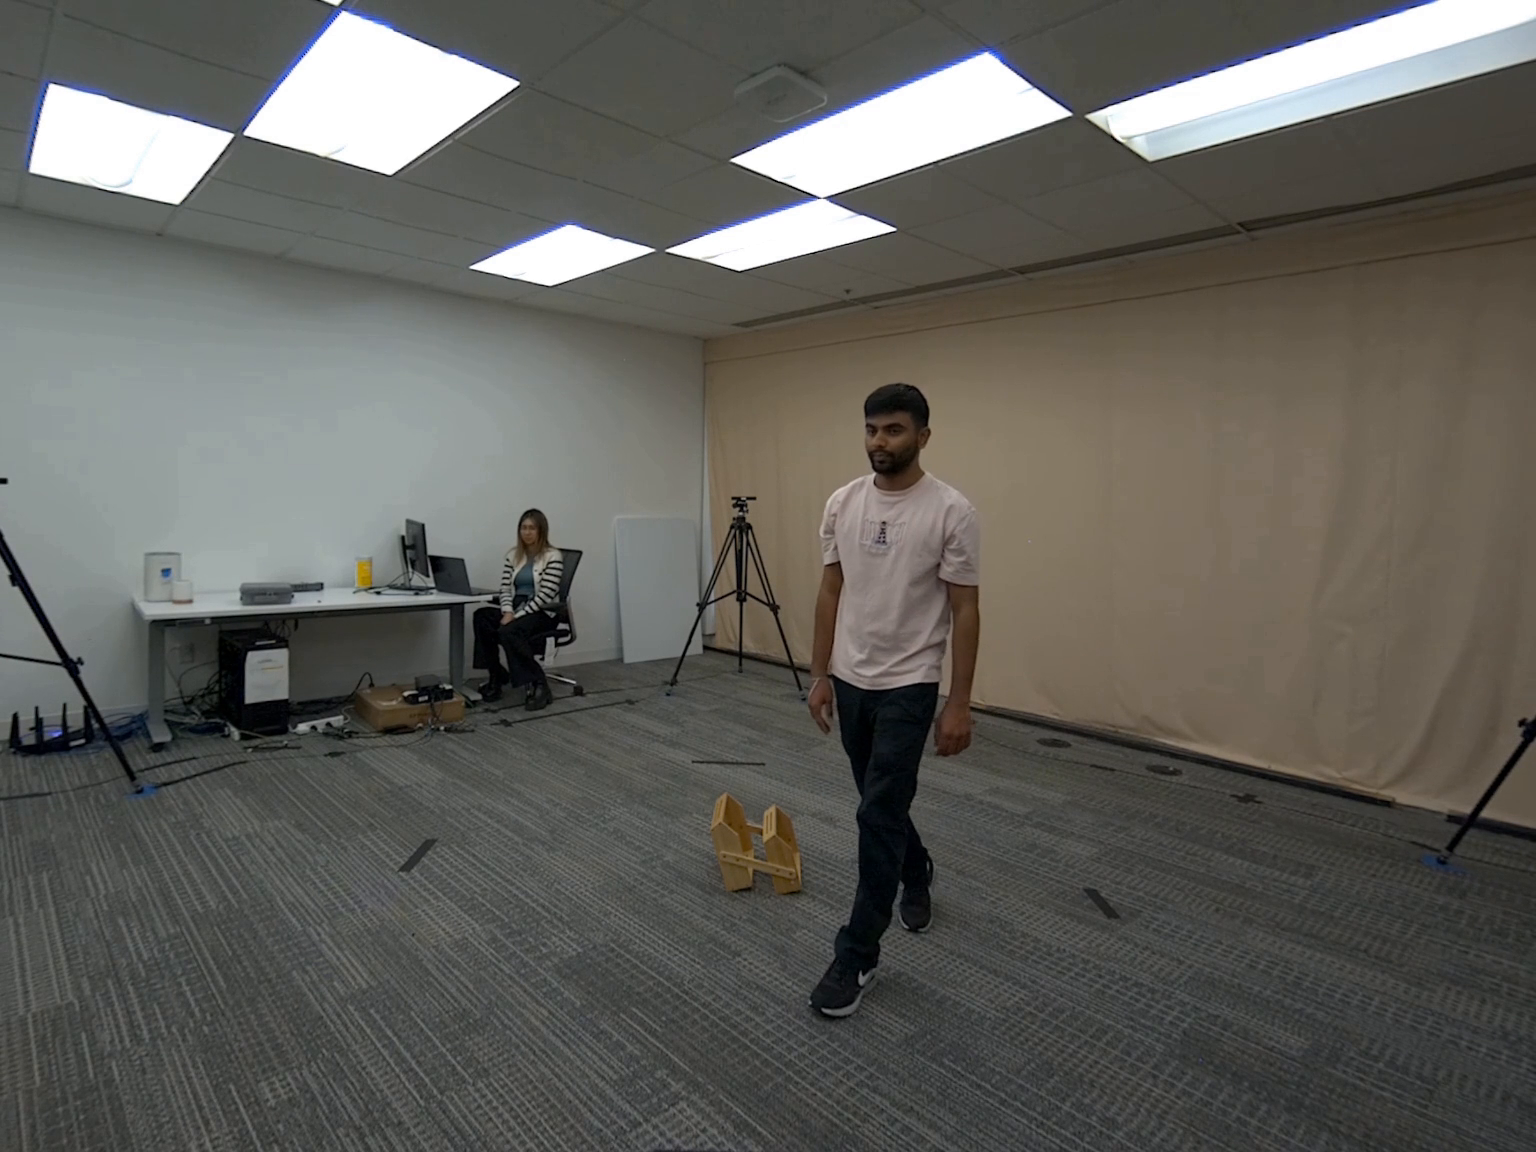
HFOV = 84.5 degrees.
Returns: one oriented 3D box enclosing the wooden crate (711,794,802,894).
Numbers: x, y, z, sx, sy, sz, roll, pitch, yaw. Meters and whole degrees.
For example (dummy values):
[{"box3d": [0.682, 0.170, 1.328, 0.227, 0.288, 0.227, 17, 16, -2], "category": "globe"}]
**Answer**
[{"box3d": [-0.045, 0.975, 3.110, 0.274, 0.301, 0.325, -15, 4, 3], "category": "wooden crate"}]
